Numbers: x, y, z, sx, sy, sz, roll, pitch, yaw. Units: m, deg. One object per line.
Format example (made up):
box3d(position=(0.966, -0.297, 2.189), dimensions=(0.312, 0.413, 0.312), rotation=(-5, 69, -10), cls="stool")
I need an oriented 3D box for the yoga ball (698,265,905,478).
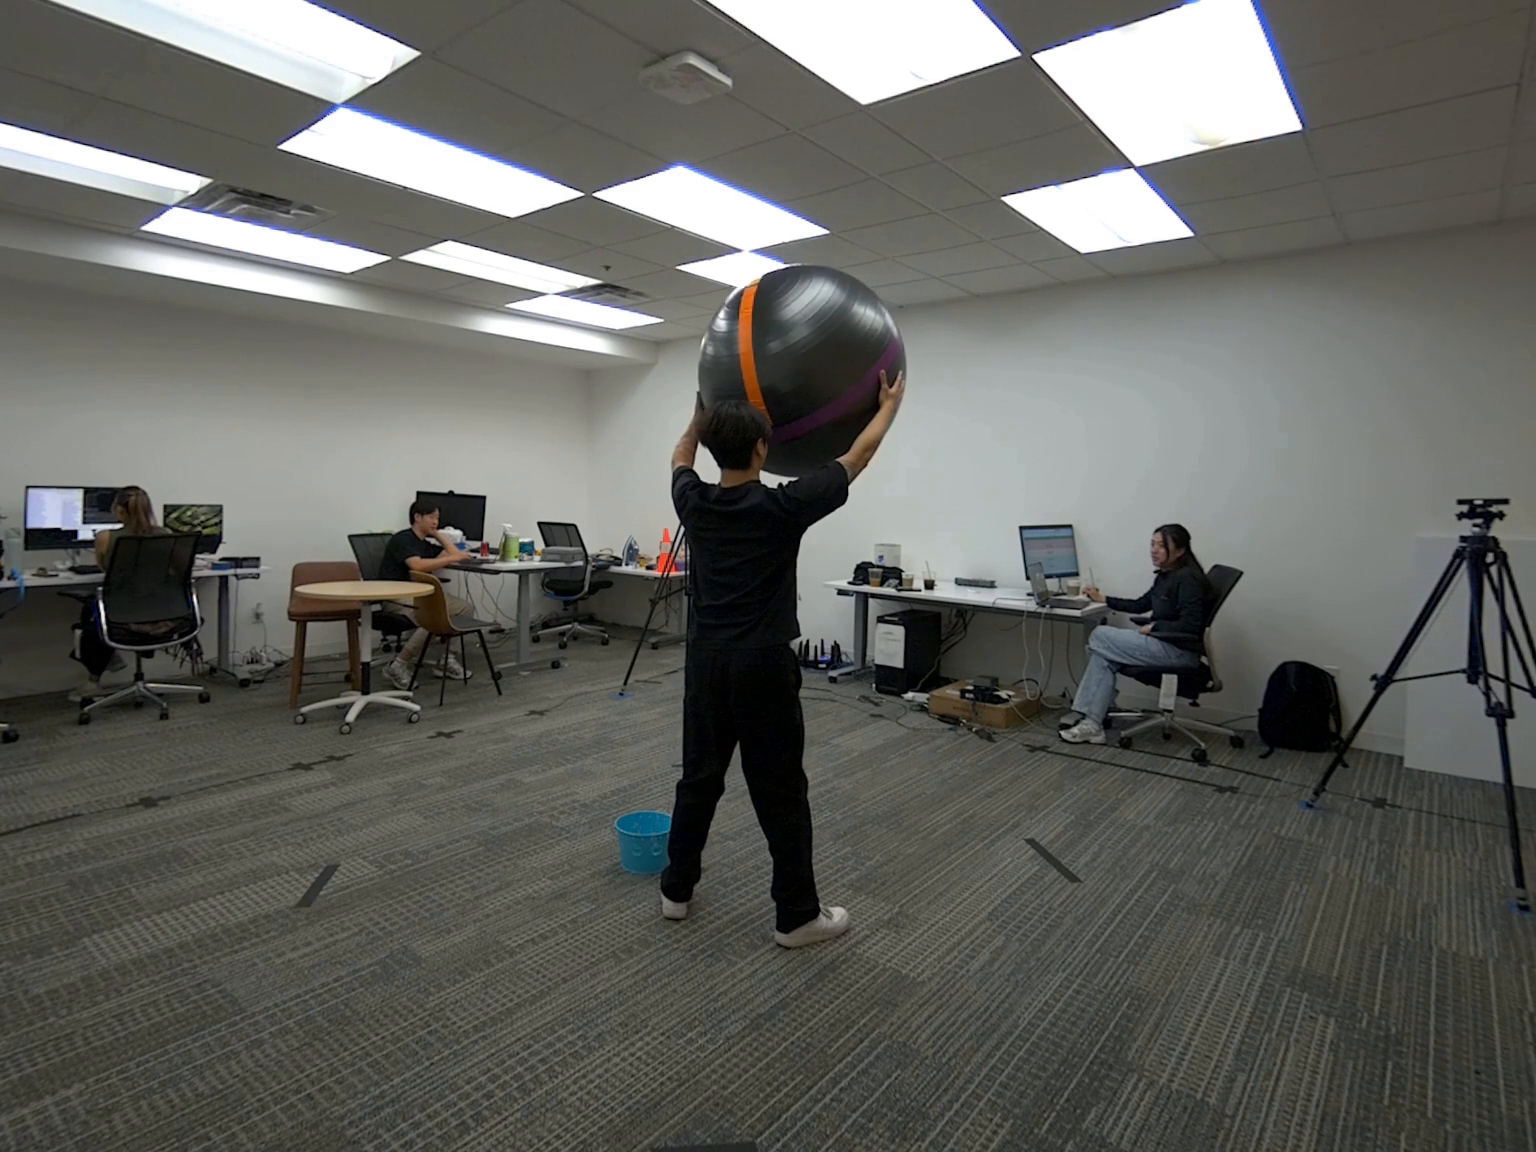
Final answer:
box3d(position=(0.113, -0.733, 3.101), dimensions=(0.757, 0.755, 0.762), rotation=(1, 4, -2), cls="yoga ball")
